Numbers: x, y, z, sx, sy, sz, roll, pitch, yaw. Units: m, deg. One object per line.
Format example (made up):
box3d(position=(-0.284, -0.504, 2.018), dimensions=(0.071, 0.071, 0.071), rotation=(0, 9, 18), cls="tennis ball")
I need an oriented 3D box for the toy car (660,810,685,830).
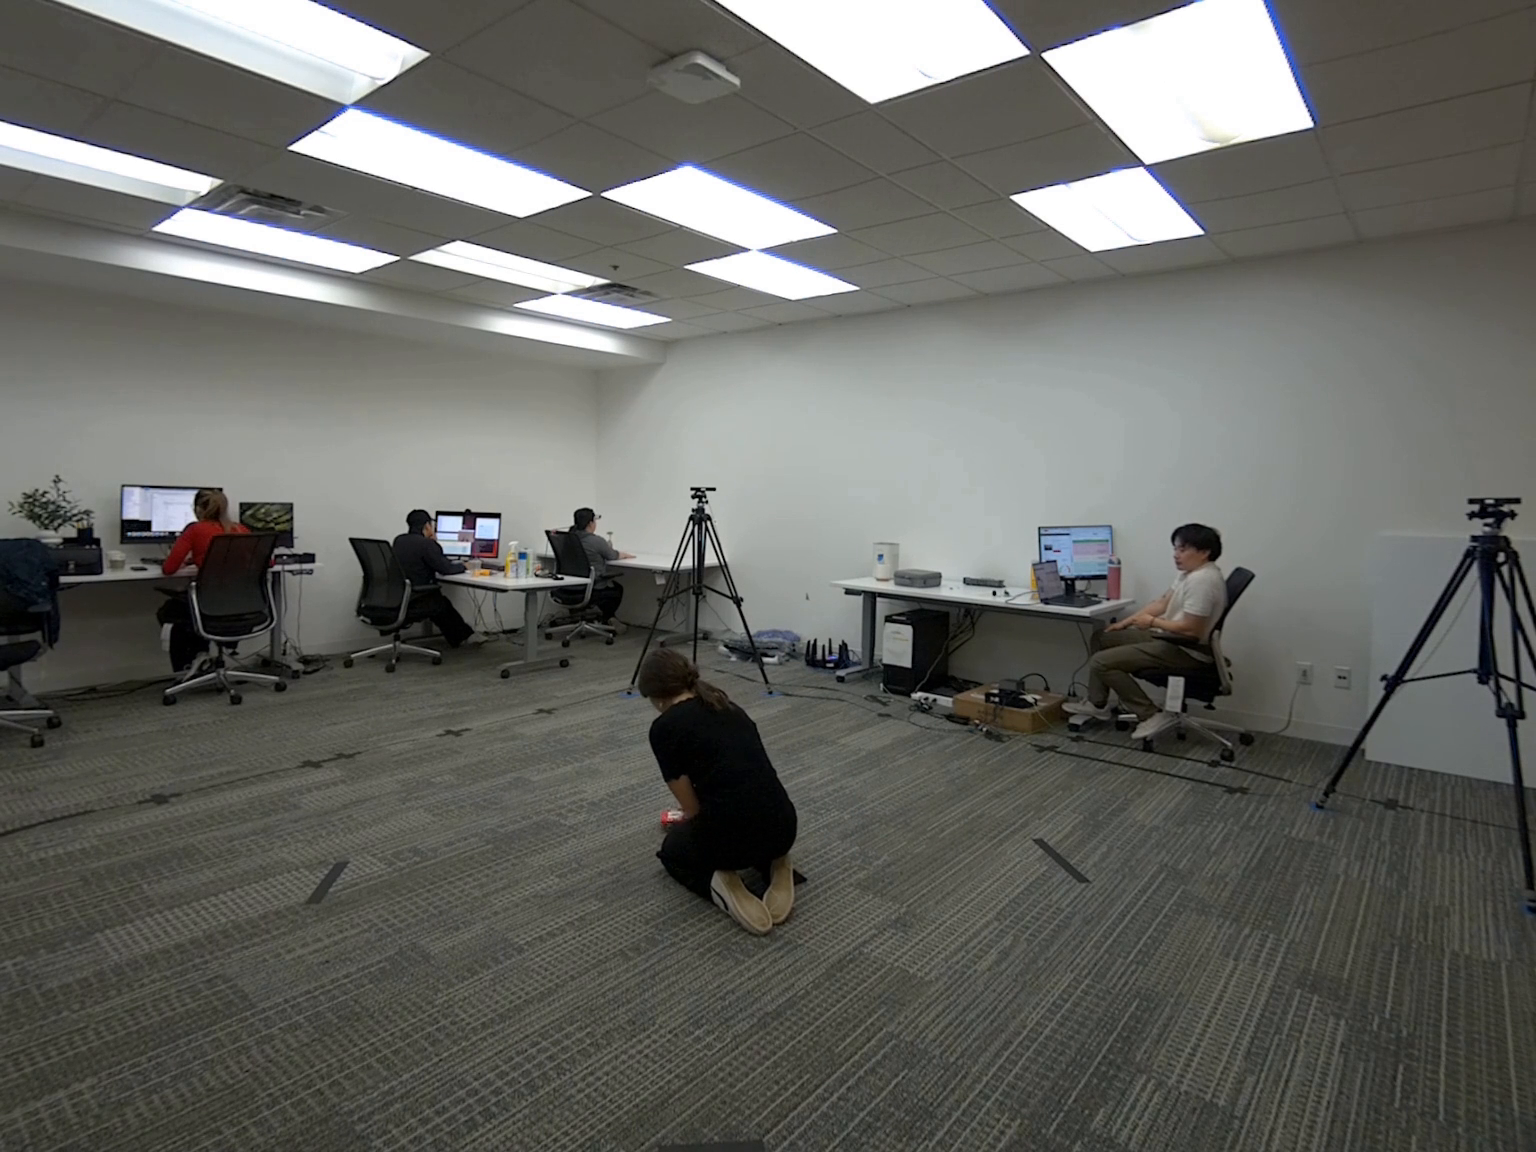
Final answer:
box3d(position=(-0.317, 0.992, 3.490), dimensions=(0.254, 0.083, 0.131), rotation=(-11, 5, -2), cls="toy car")
